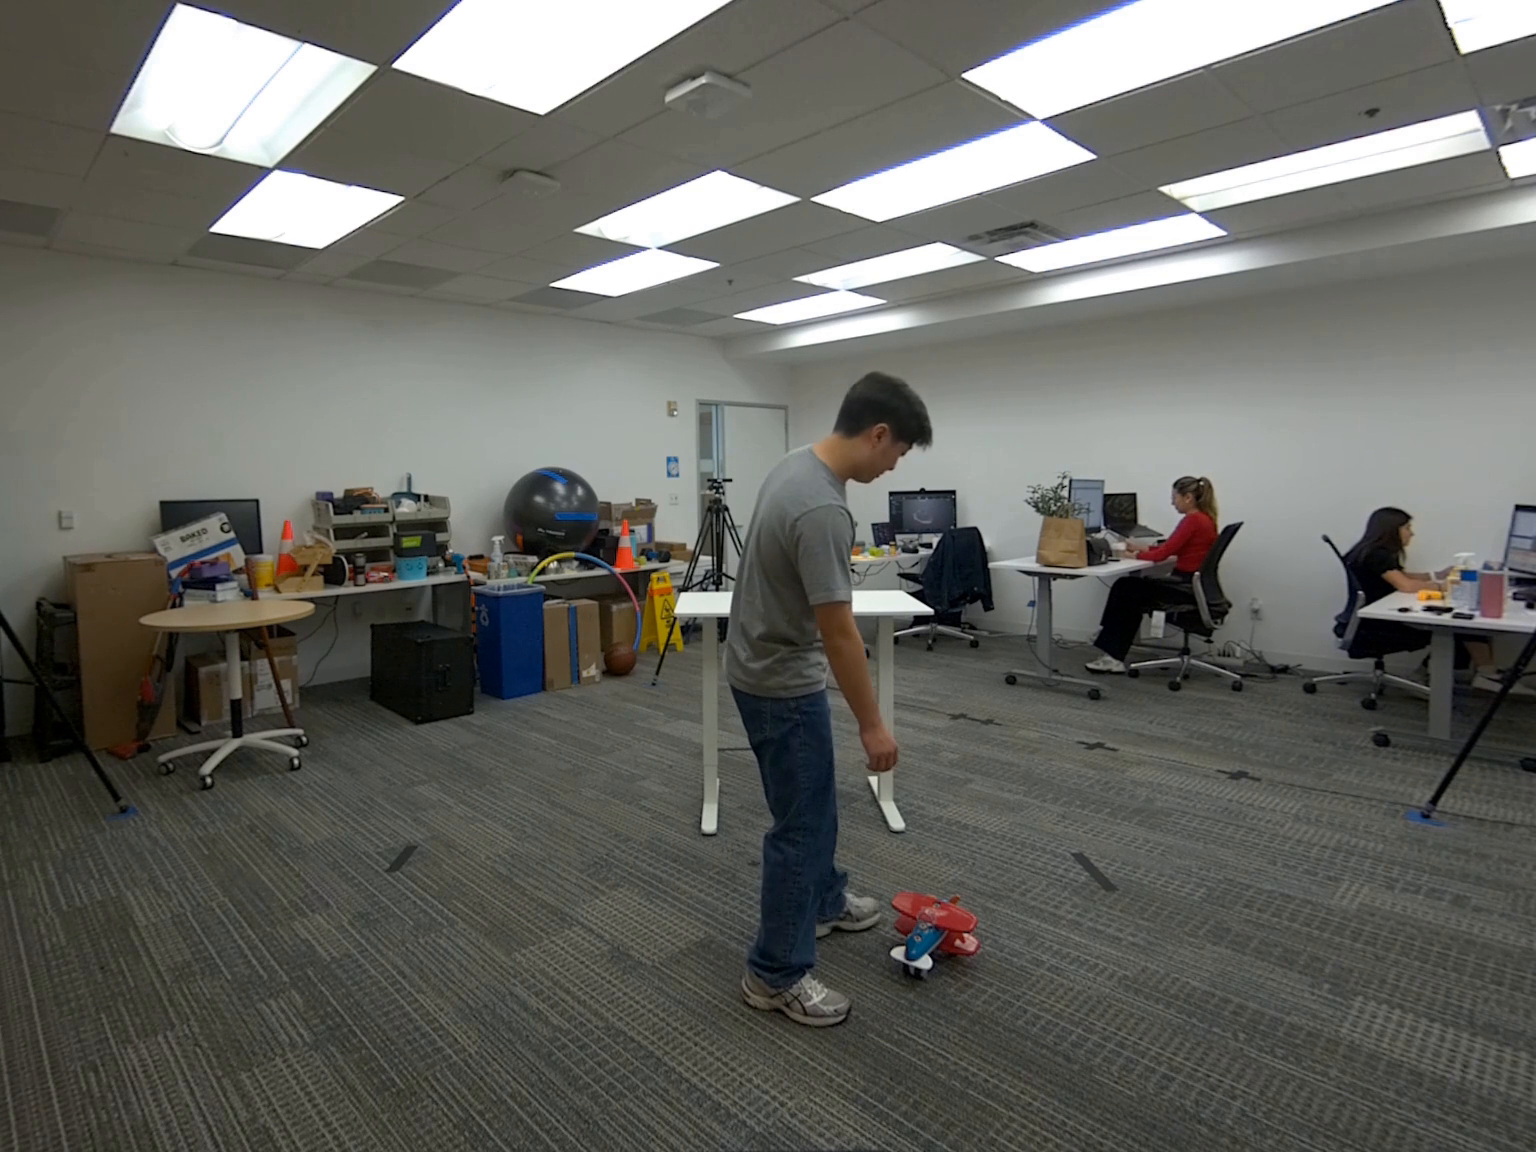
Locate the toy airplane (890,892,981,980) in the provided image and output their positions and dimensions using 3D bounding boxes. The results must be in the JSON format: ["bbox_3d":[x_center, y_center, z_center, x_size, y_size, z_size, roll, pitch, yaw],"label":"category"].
[{"bbox_3d":[0.487,1.039,2.443,0.254,0.156,0.257,0,4,10],"label":"toy airplane"}]
